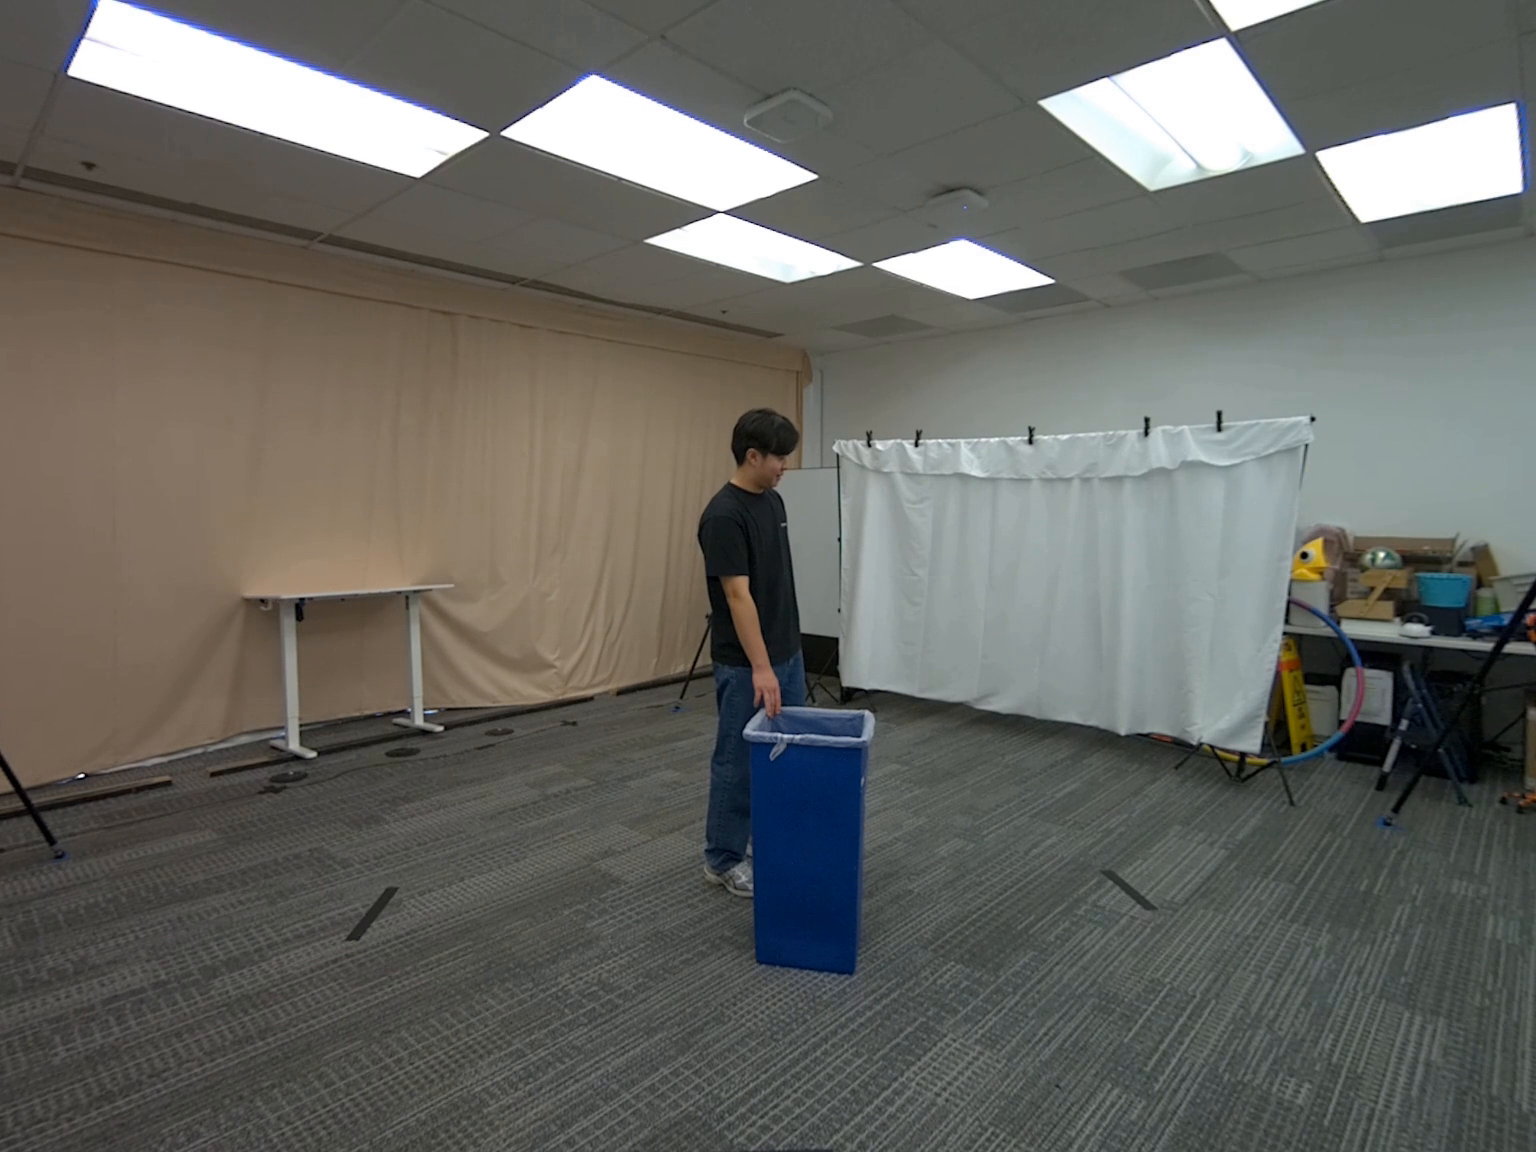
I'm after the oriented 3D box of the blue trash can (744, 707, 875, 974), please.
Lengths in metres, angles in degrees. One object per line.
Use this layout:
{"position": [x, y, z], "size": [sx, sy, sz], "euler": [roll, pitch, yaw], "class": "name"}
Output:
{"position": [0.143, 0.813, 2.649], "size": [0.383, 0.713, 0.369], "euler": [1, 2, 12], "class": "blue trash can"}
